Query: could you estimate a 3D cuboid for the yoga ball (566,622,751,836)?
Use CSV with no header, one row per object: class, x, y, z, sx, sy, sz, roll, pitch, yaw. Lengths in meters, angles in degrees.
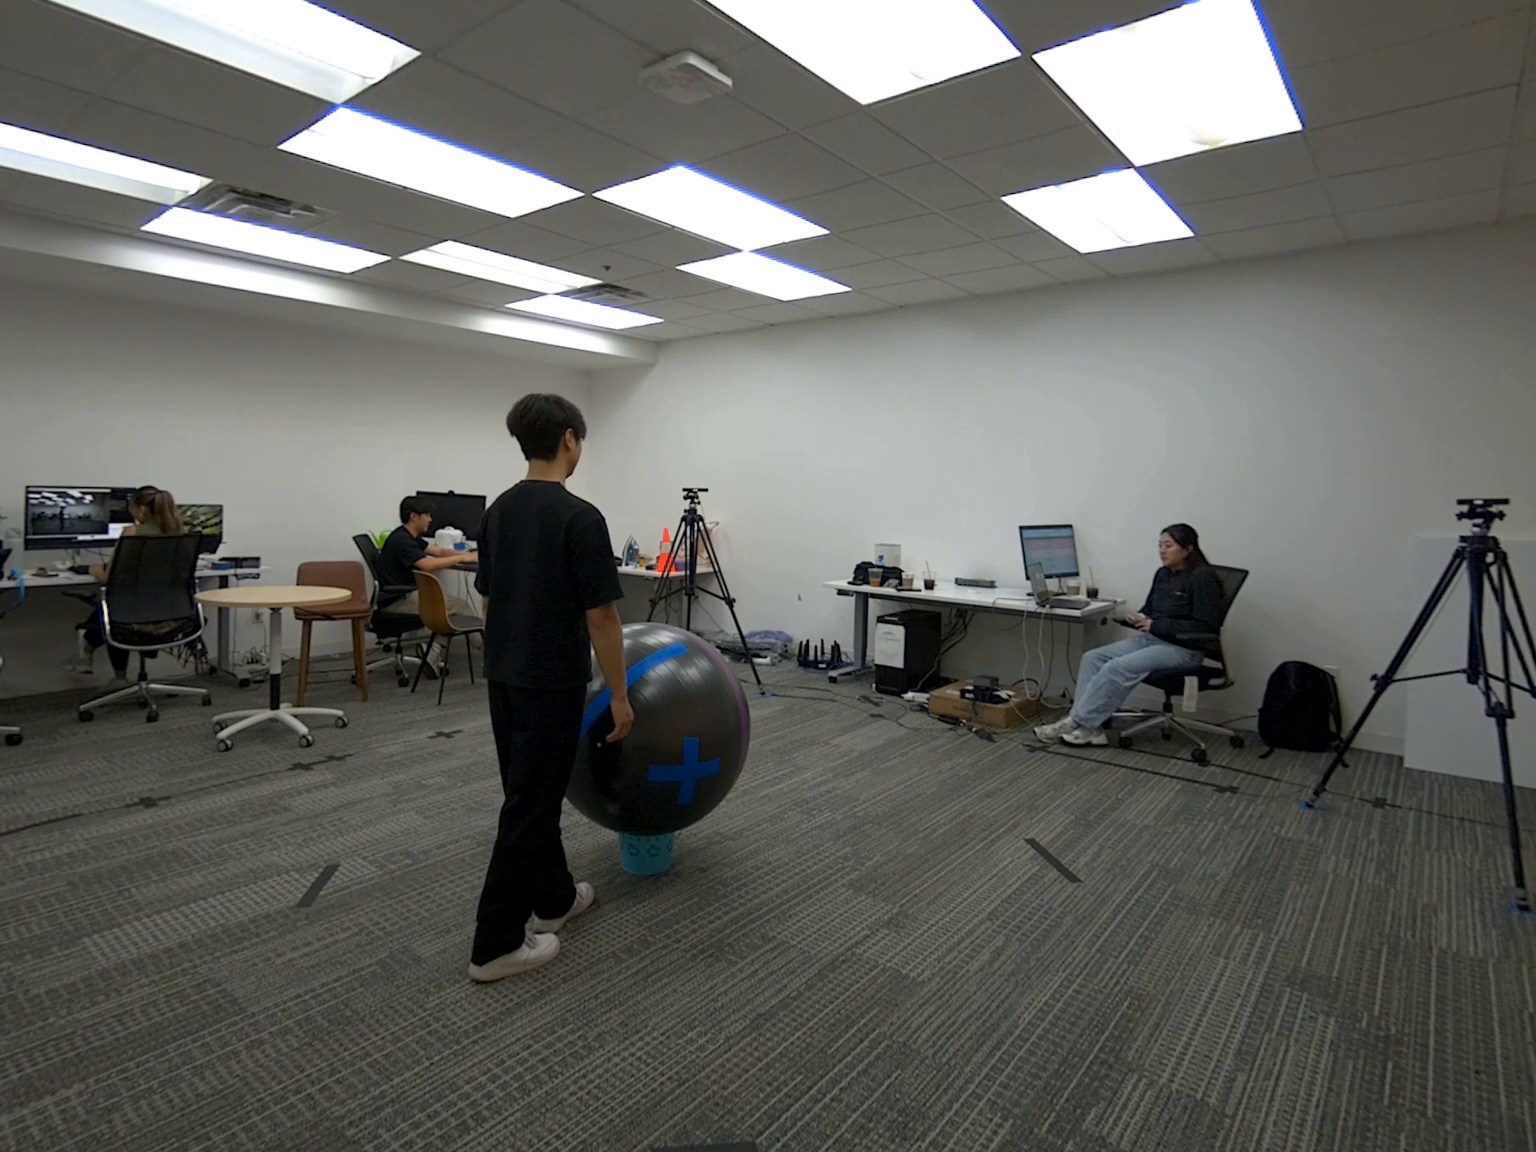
yoga ball,-0.453,0.554,3.129,0.757,0.756,0.761,1,4,-2
